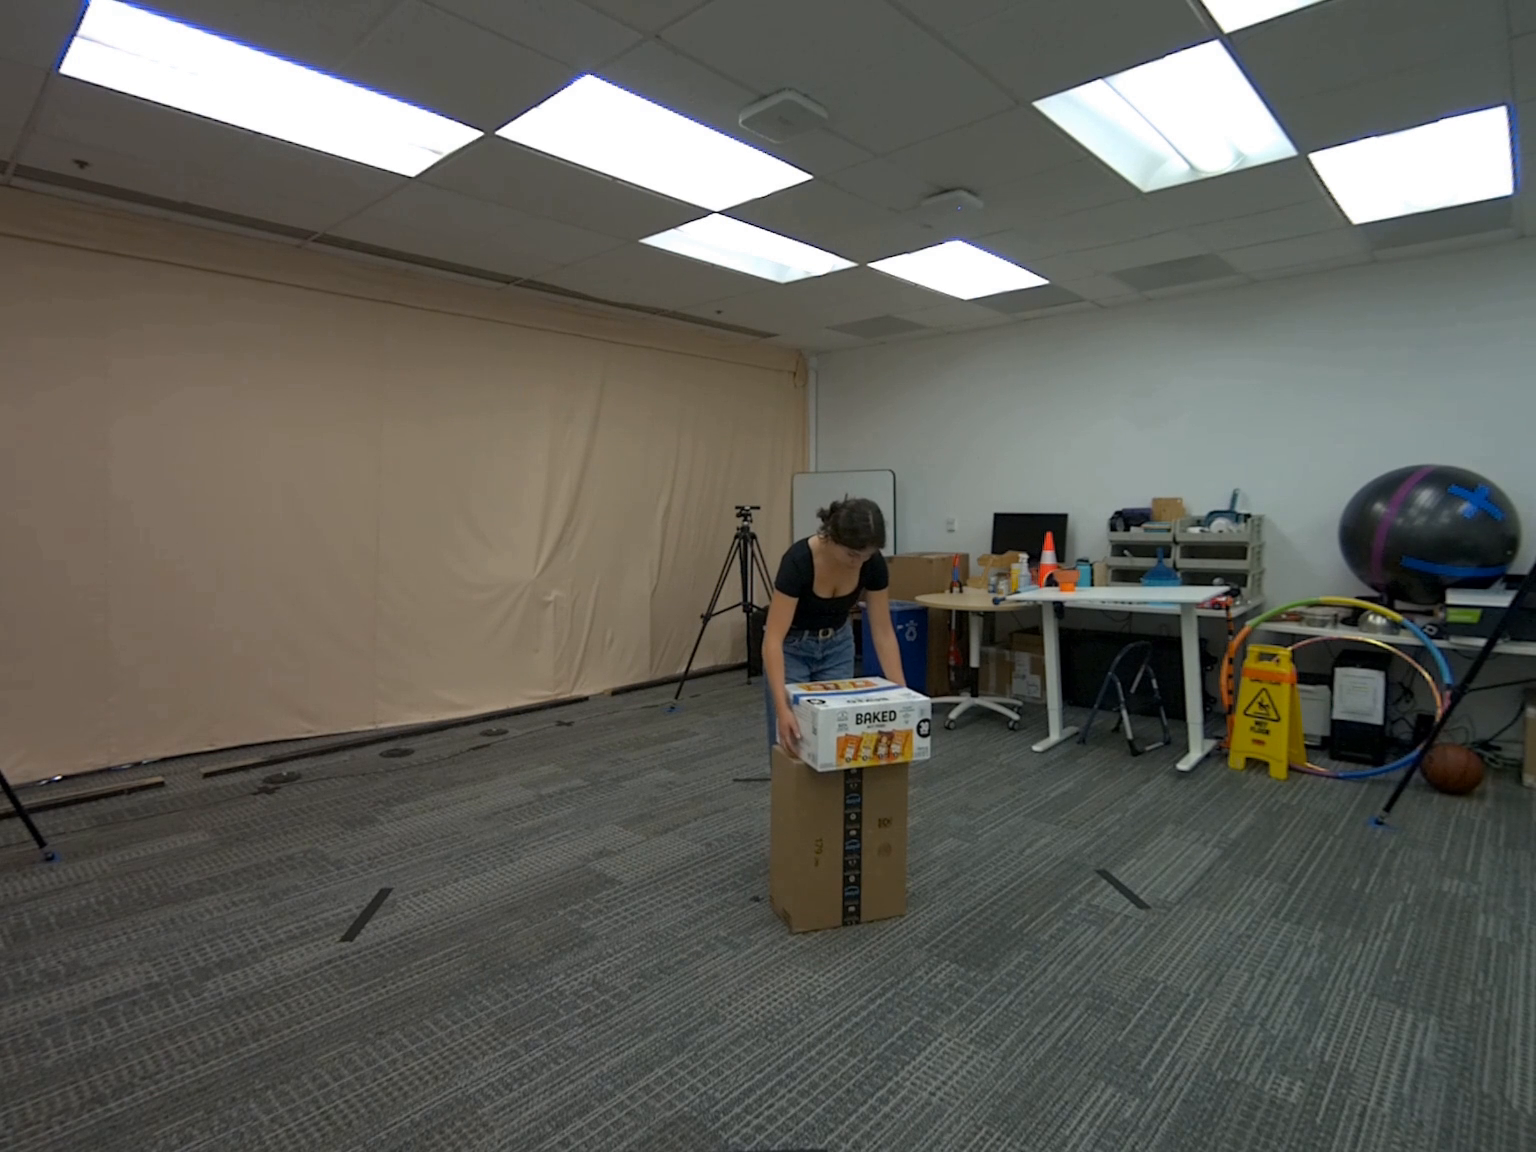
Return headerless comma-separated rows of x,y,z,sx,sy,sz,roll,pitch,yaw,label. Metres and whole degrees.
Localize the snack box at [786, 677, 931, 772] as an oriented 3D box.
0.280,0.486,2.833,0.397,0.205,0.348,-2,5,-21,snack box
